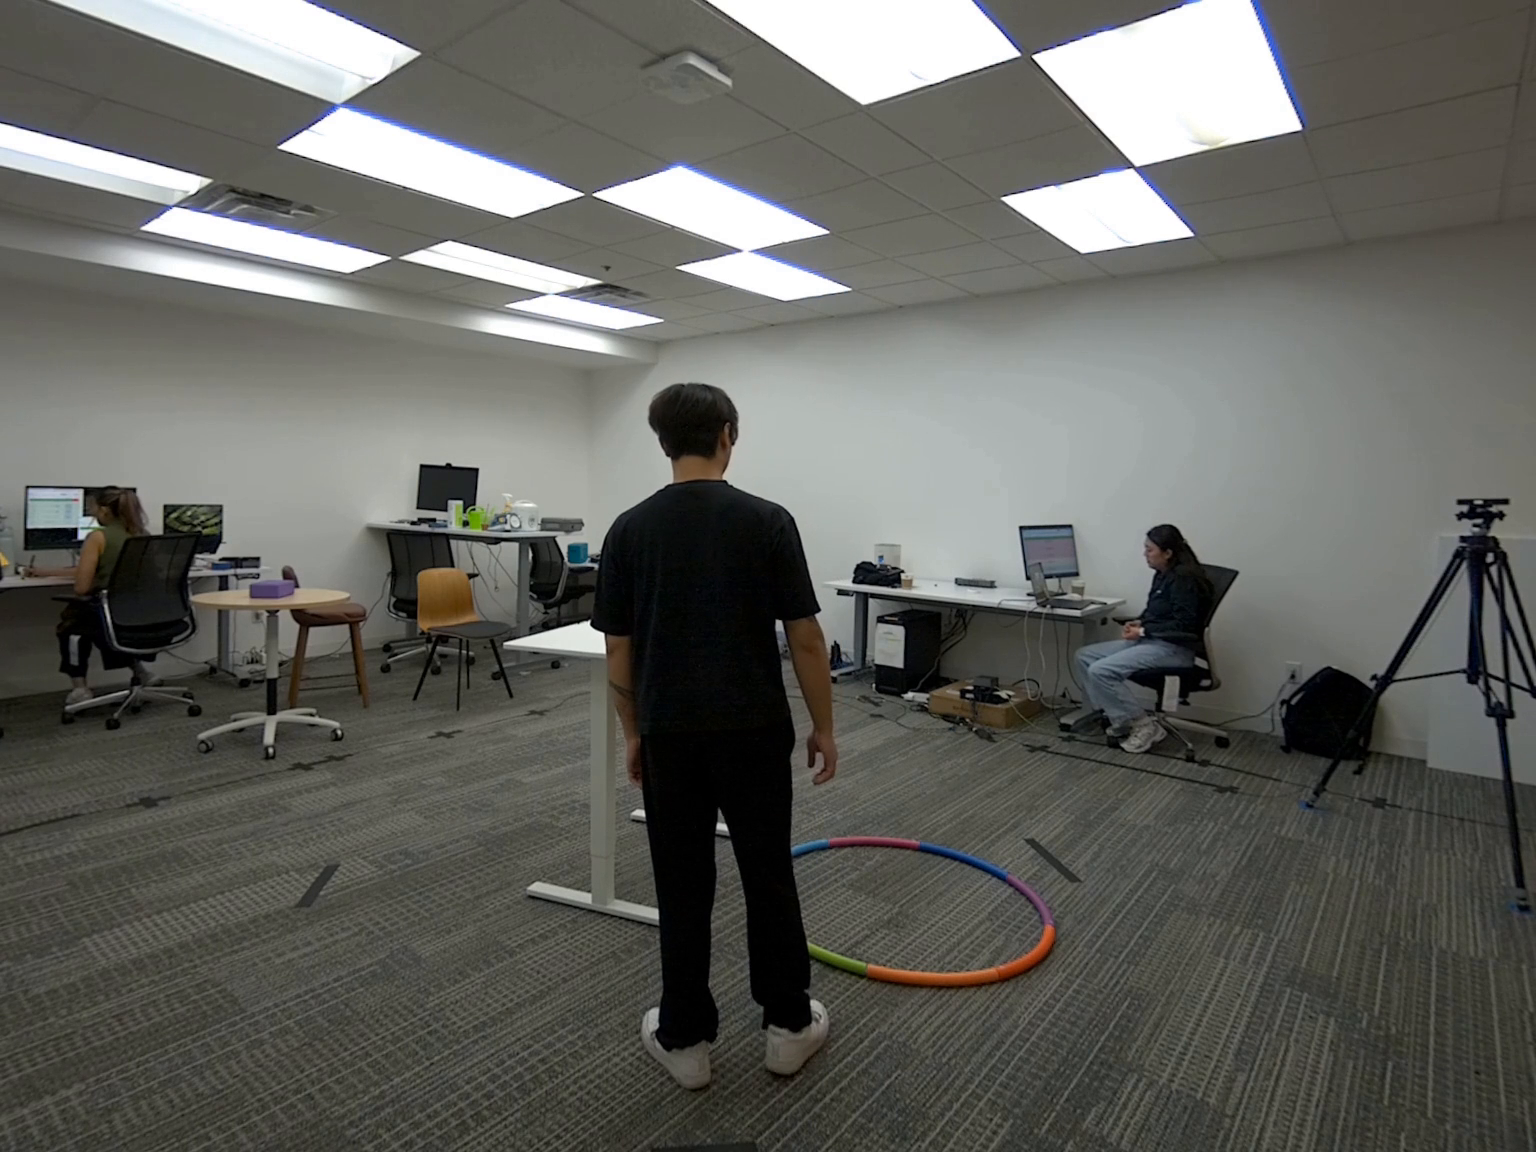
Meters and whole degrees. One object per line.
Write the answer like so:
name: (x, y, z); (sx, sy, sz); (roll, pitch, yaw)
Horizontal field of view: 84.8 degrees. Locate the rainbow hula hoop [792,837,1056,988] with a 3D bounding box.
rainbow hula hoop: (0.428, 1.078, 2.883); (0.978, 0.035, 0.984); (1, 6, -2)
